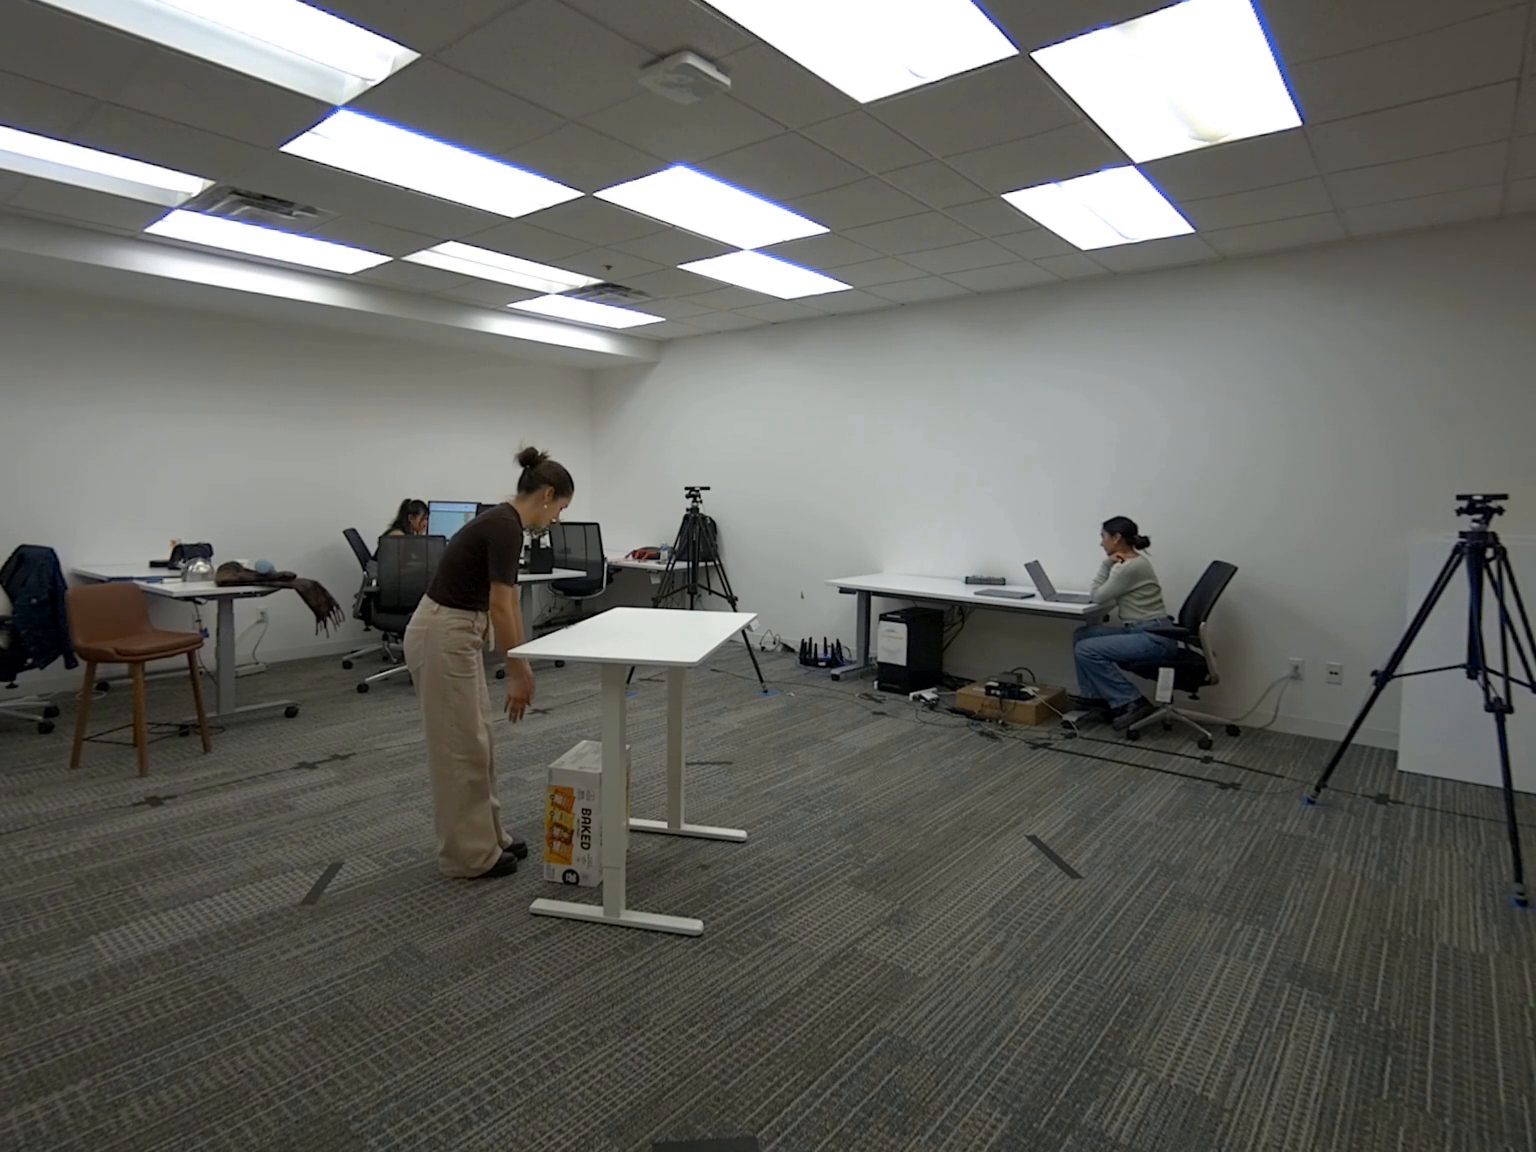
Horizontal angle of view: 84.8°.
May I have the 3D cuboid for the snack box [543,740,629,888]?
[{"bbox_3d":[-0.668,0.858,3.107,0.208,0.404,0.337,3,4,10],"label":"snack box"}]
